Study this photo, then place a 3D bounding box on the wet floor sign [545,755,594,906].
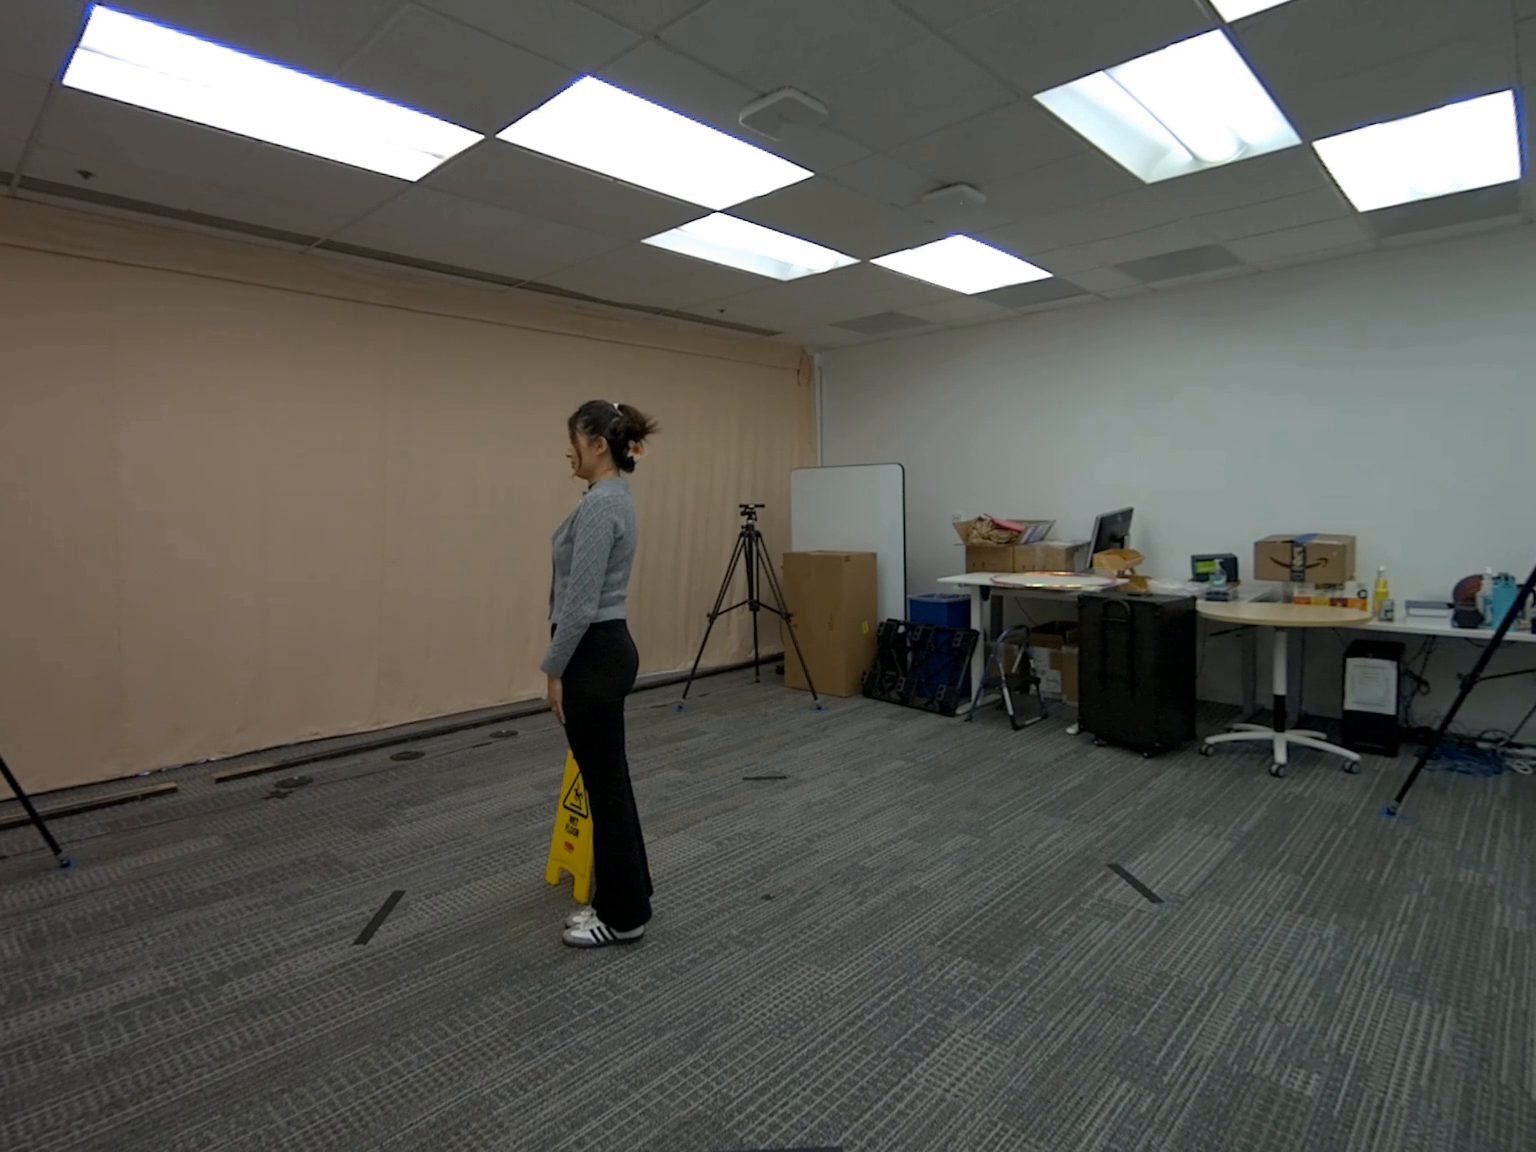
[{"bbox_3d":[-0.644,0.817,3.146,0.281,0.645,0.291,-3,4,-42],"label":"wet floor sign"}]
